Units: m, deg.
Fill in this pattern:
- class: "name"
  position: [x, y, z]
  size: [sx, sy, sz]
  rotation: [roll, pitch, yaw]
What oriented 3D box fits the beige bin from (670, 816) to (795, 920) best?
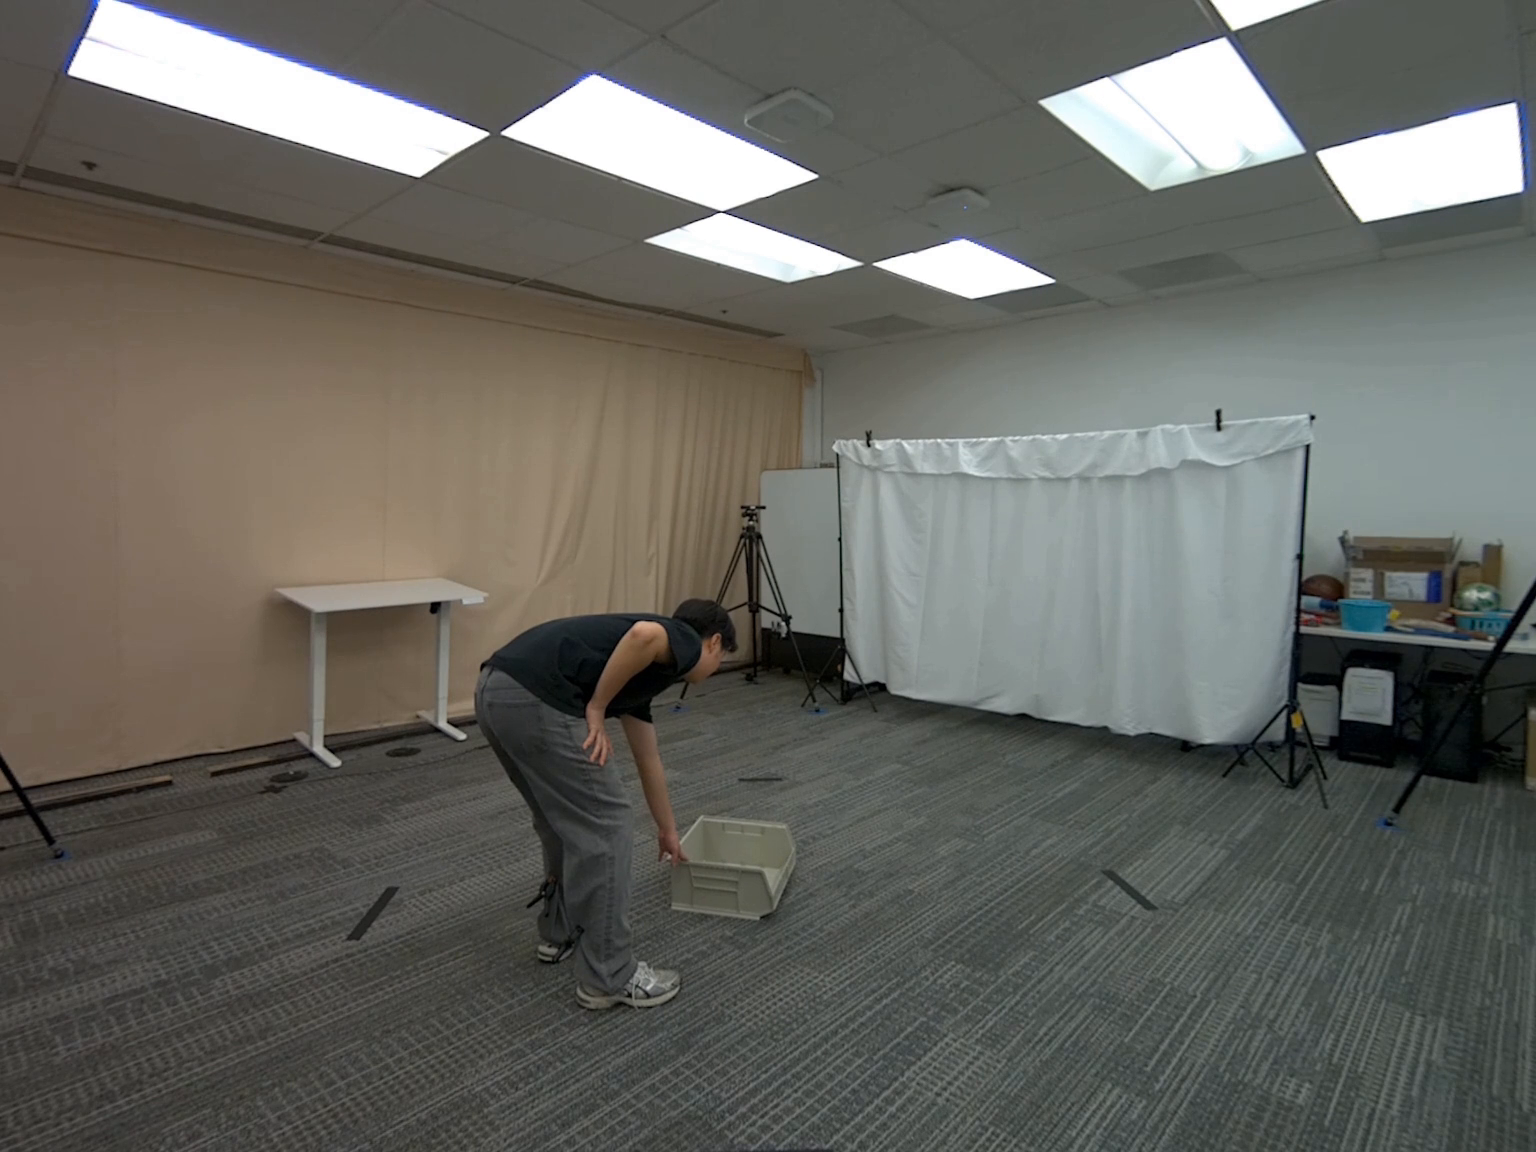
- class: "beige bin"
  position: [-0.117, 1.051, 3.054]
  size: [0.383, 0.188, 0.417]
  rotation: [0, 5, 13]
